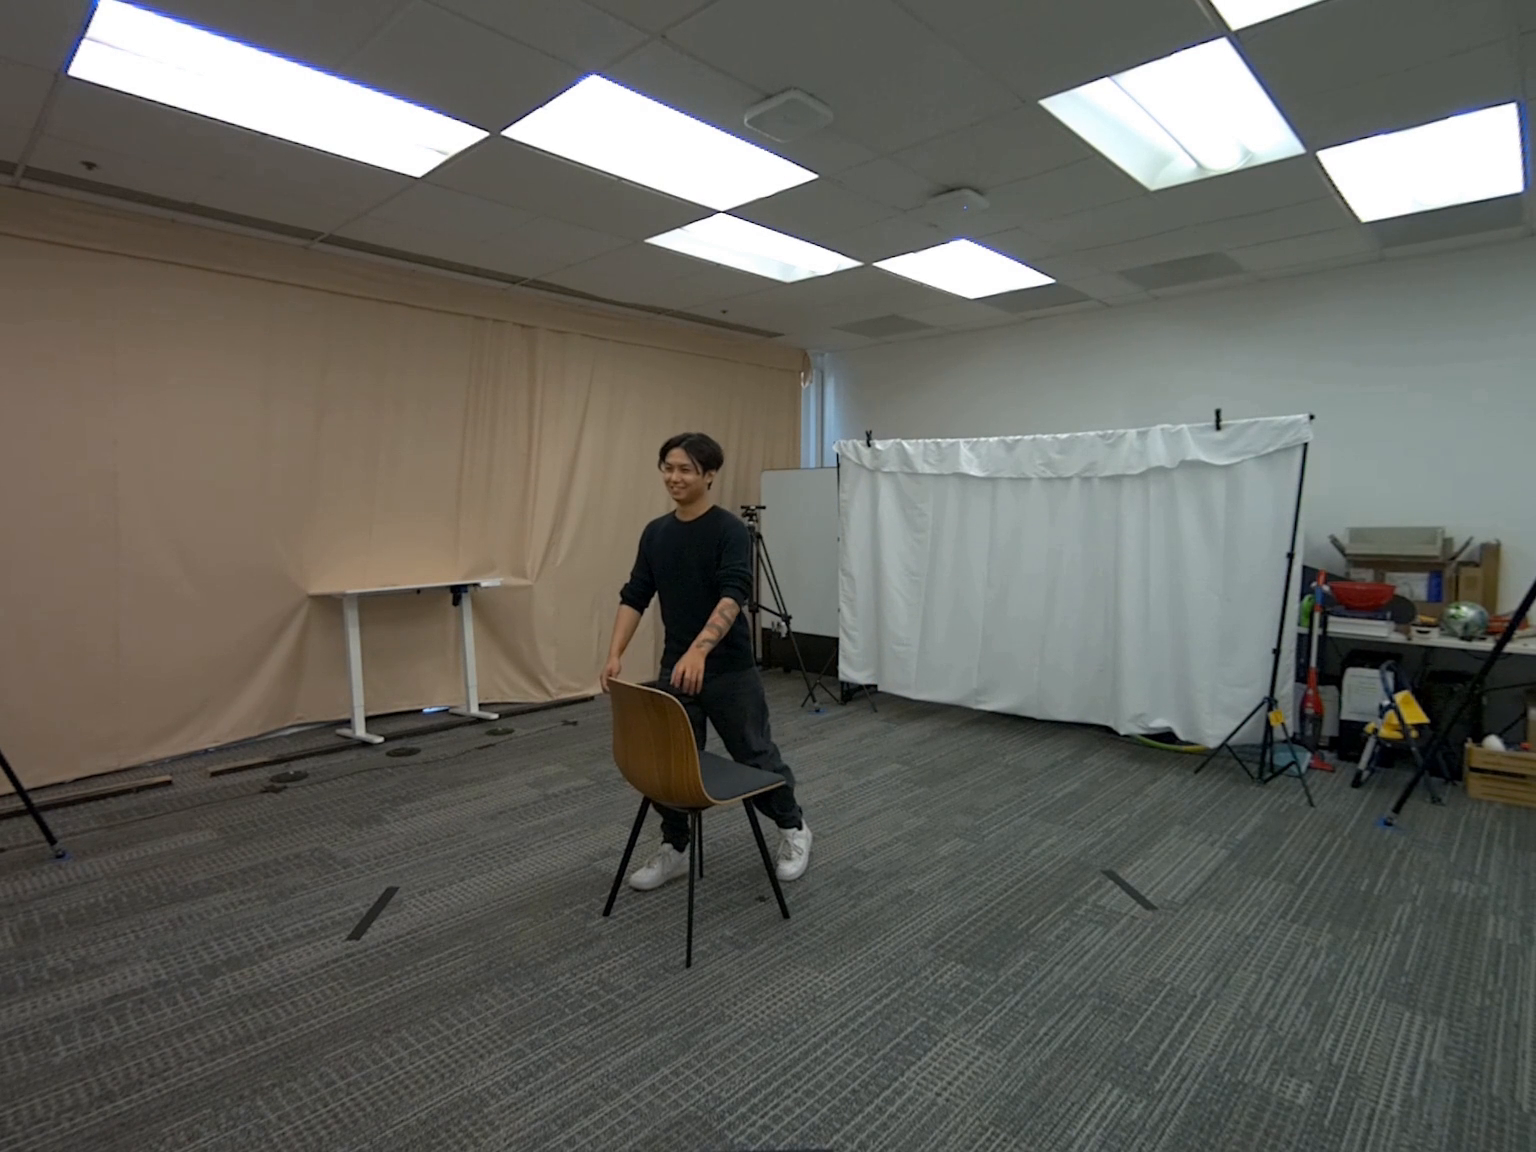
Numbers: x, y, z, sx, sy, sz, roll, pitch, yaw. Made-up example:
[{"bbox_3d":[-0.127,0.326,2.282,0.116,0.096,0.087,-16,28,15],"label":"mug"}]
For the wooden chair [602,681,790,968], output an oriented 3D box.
[{"bbox_3d":[-0.237,0.726,2.829,0.508,0.874,0.494,-9,8,-43],"label":"wooden chair"}]
